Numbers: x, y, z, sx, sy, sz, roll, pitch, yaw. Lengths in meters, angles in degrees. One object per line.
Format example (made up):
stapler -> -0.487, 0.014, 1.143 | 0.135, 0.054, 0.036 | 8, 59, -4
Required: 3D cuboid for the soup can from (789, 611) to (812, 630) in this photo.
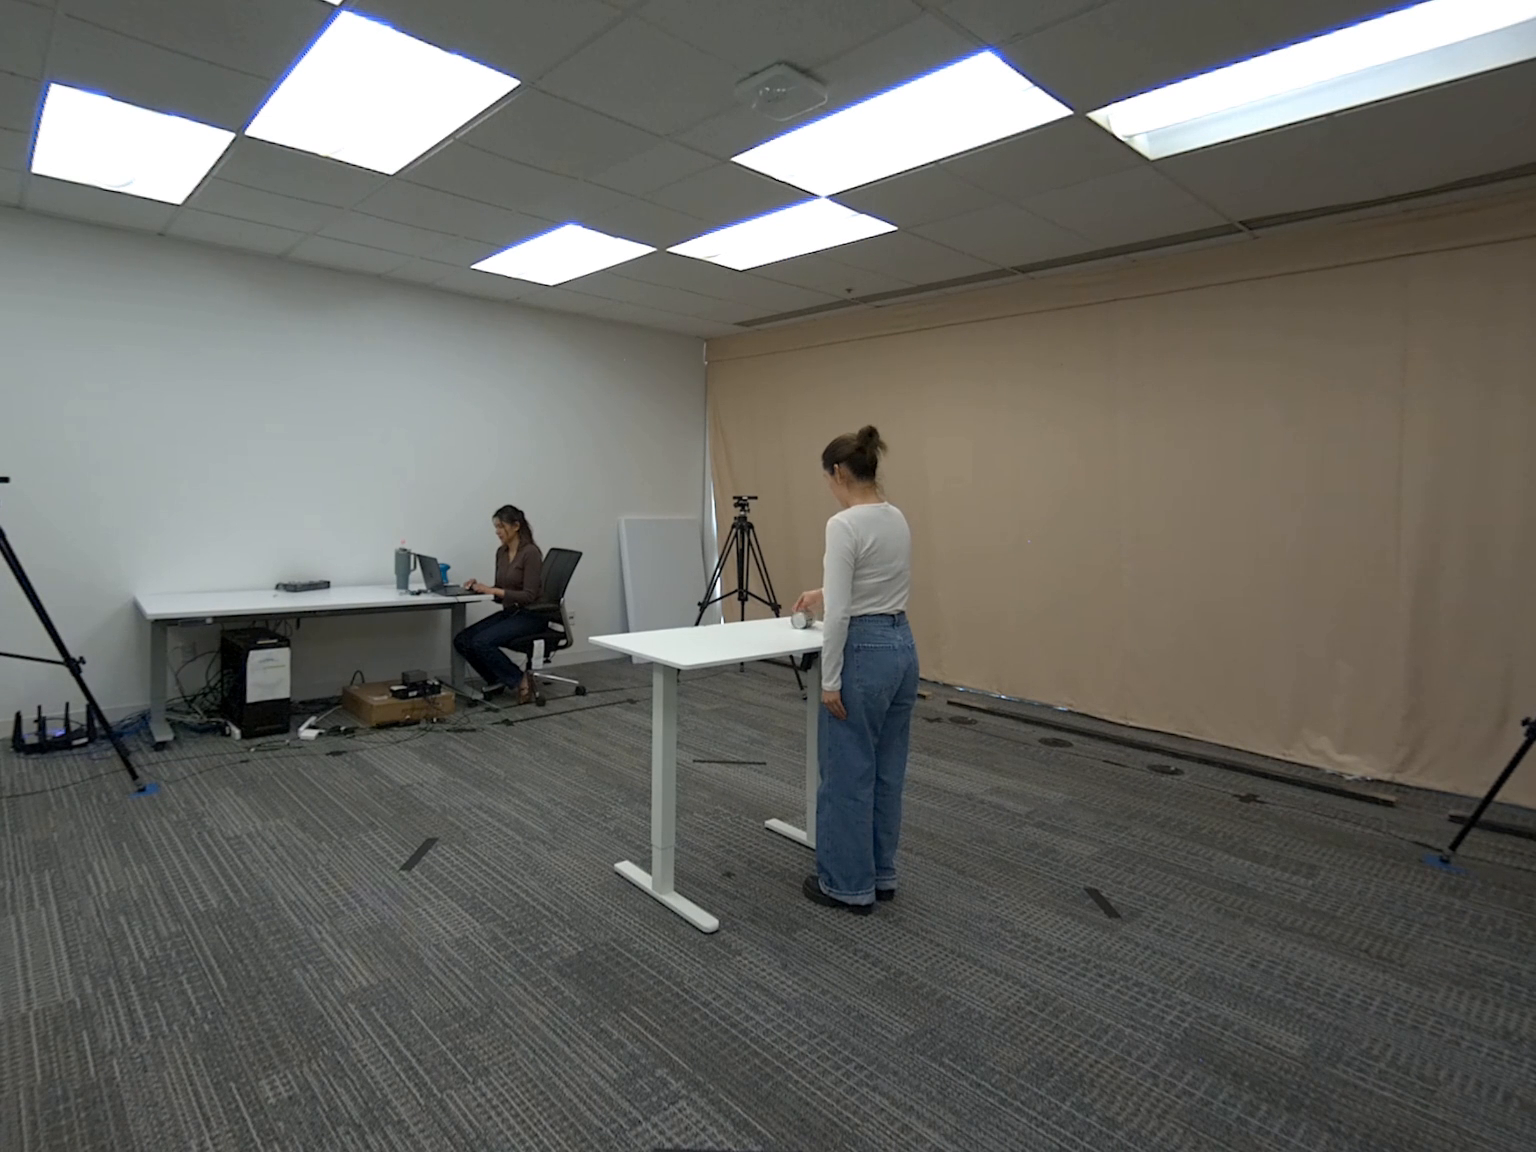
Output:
soup can -> 0.126, 0.172, 3.337 | 0.067, 0.067, 0.121 | 2, 4, 5
